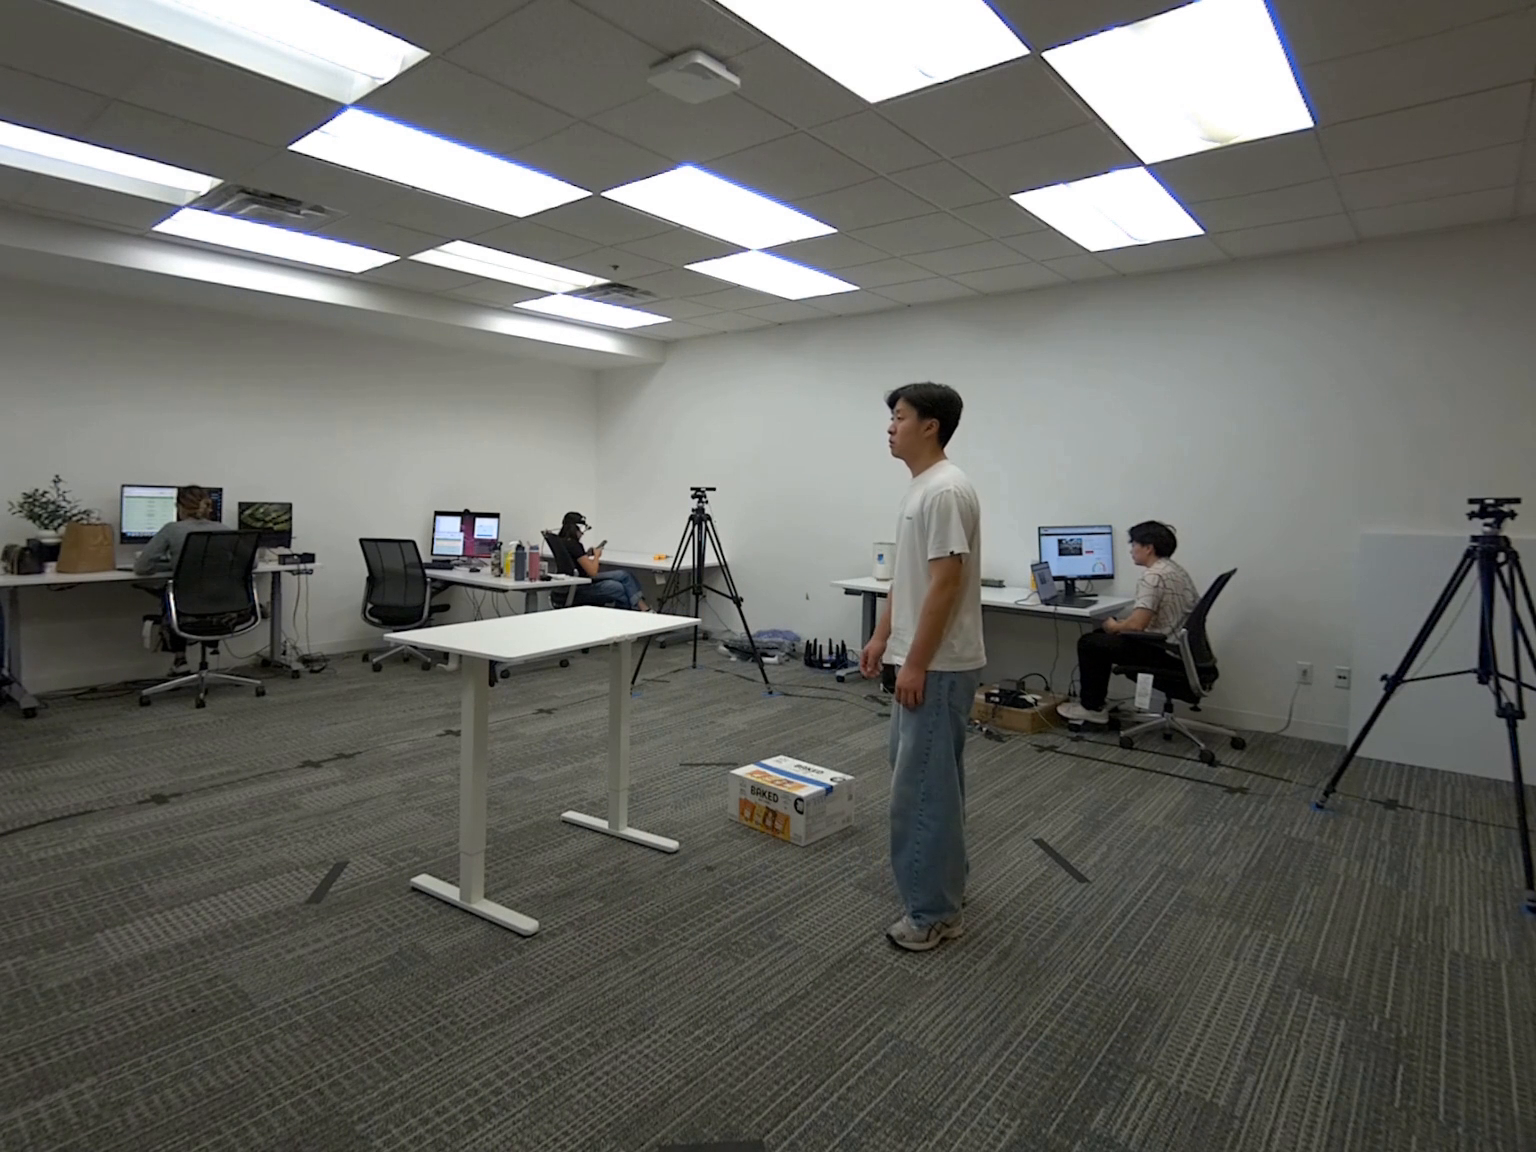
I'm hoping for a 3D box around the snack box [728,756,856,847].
[{"bbox_3d":[0.087,0.926,3.556,0.419,0.205,0.330,6,7,42],"label":"snack box"}]
